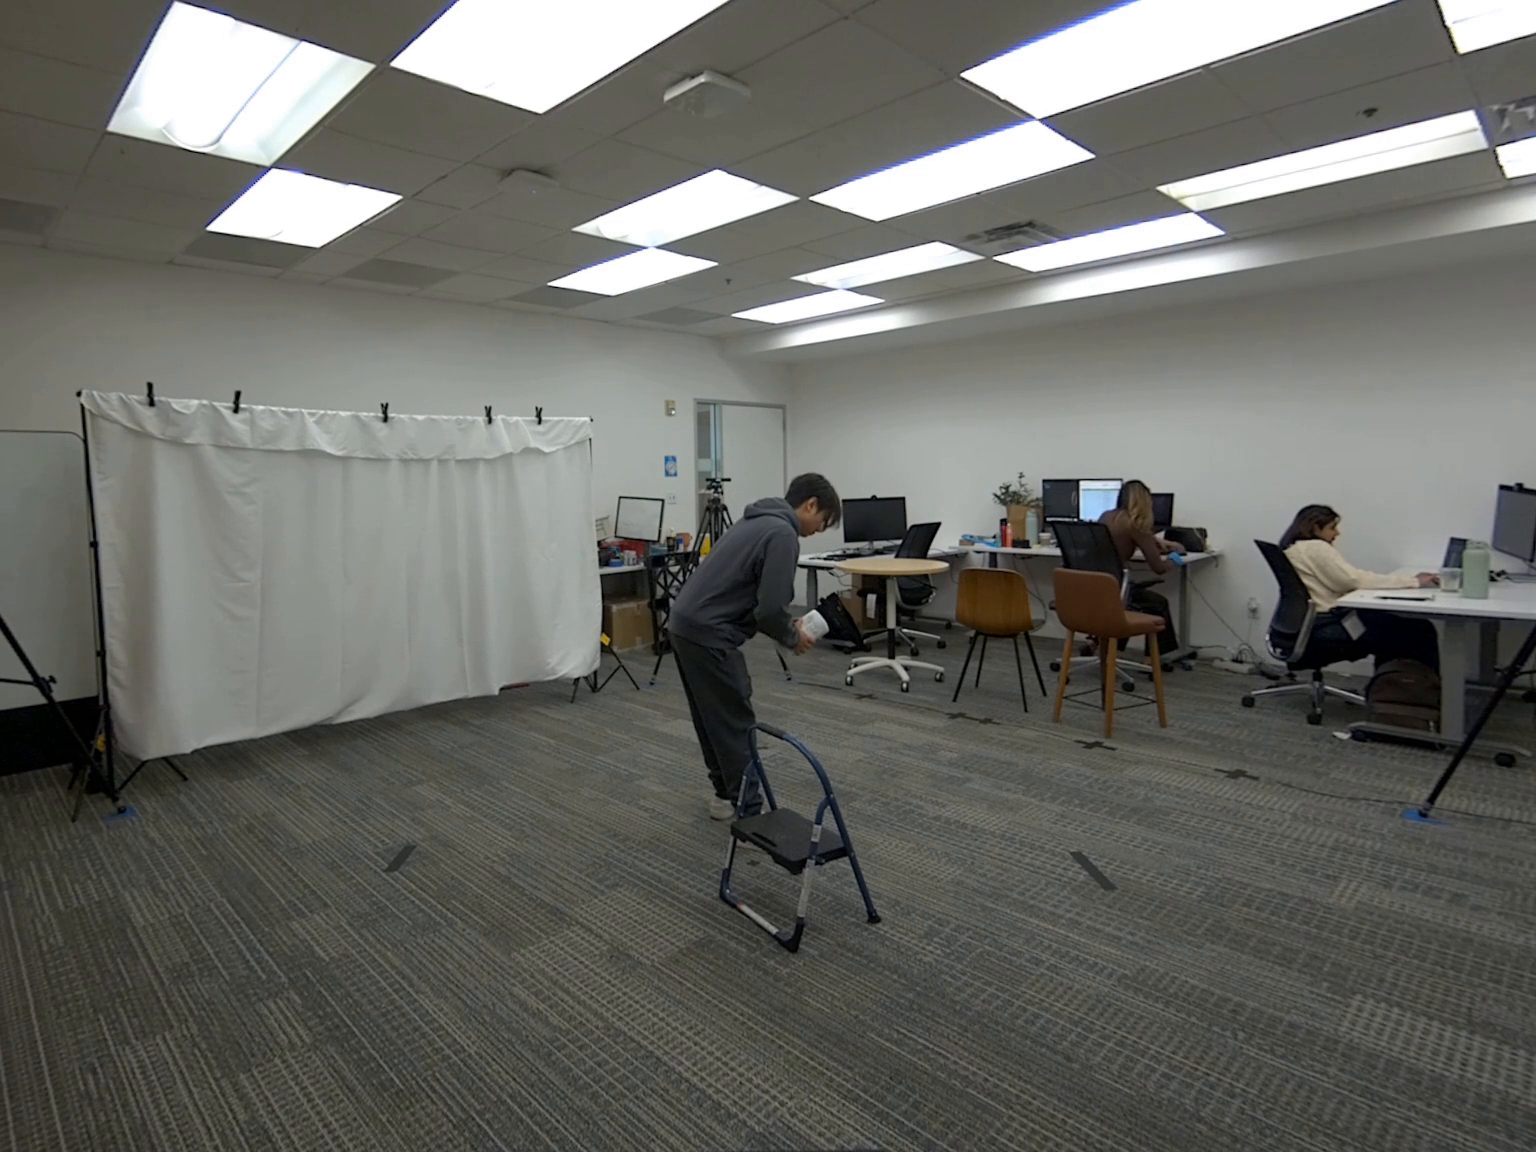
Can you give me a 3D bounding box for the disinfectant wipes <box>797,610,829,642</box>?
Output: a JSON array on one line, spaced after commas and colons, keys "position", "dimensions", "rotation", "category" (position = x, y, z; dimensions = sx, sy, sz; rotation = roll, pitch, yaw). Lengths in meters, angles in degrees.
[{"position": [0.122, 0.230, 3.471], "dimensions": [0.217, 0.117, 0.119], "rotation": [-28, 7, -3], "category": "disinfectant wipes"}]
